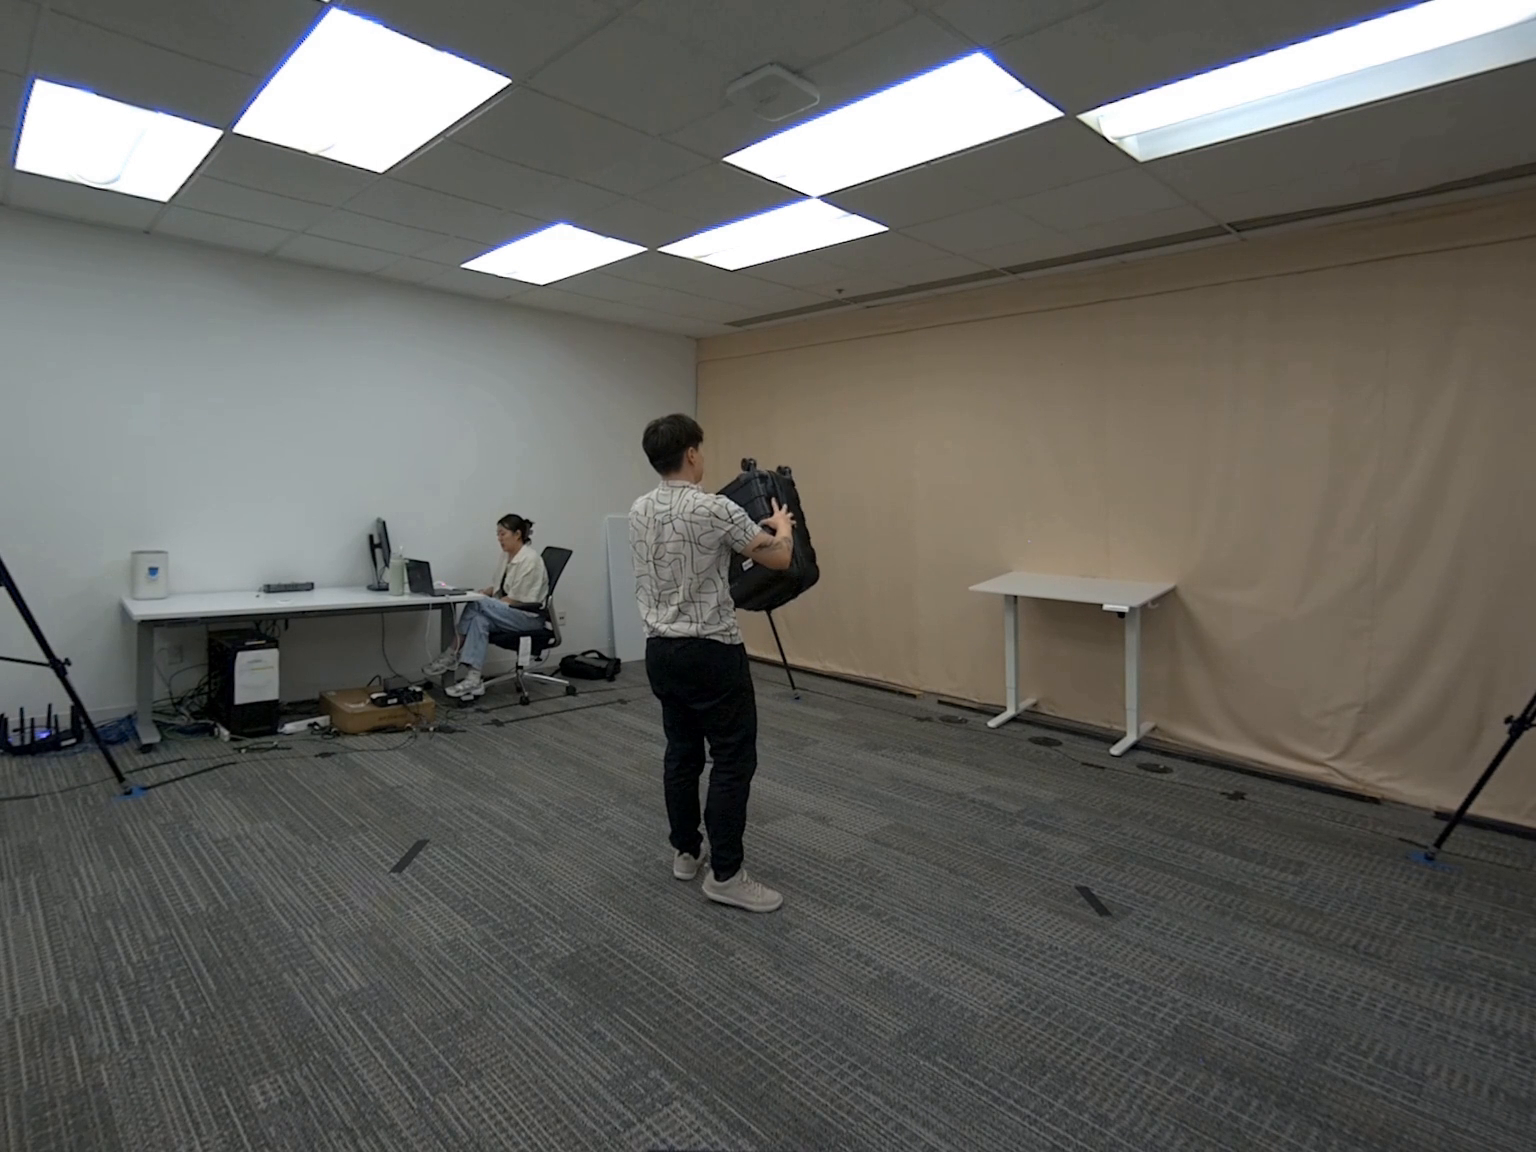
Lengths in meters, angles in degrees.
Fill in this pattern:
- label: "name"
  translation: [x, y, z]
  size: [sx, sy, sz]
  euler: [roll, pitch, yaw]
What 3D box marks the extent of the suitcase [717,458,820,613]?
- label: "suitcase"
  translation: [-0.038, -0.155, 3.362]
  size: [0.242, 0.560, 0.378]
  euler: [8, -32, -42]
